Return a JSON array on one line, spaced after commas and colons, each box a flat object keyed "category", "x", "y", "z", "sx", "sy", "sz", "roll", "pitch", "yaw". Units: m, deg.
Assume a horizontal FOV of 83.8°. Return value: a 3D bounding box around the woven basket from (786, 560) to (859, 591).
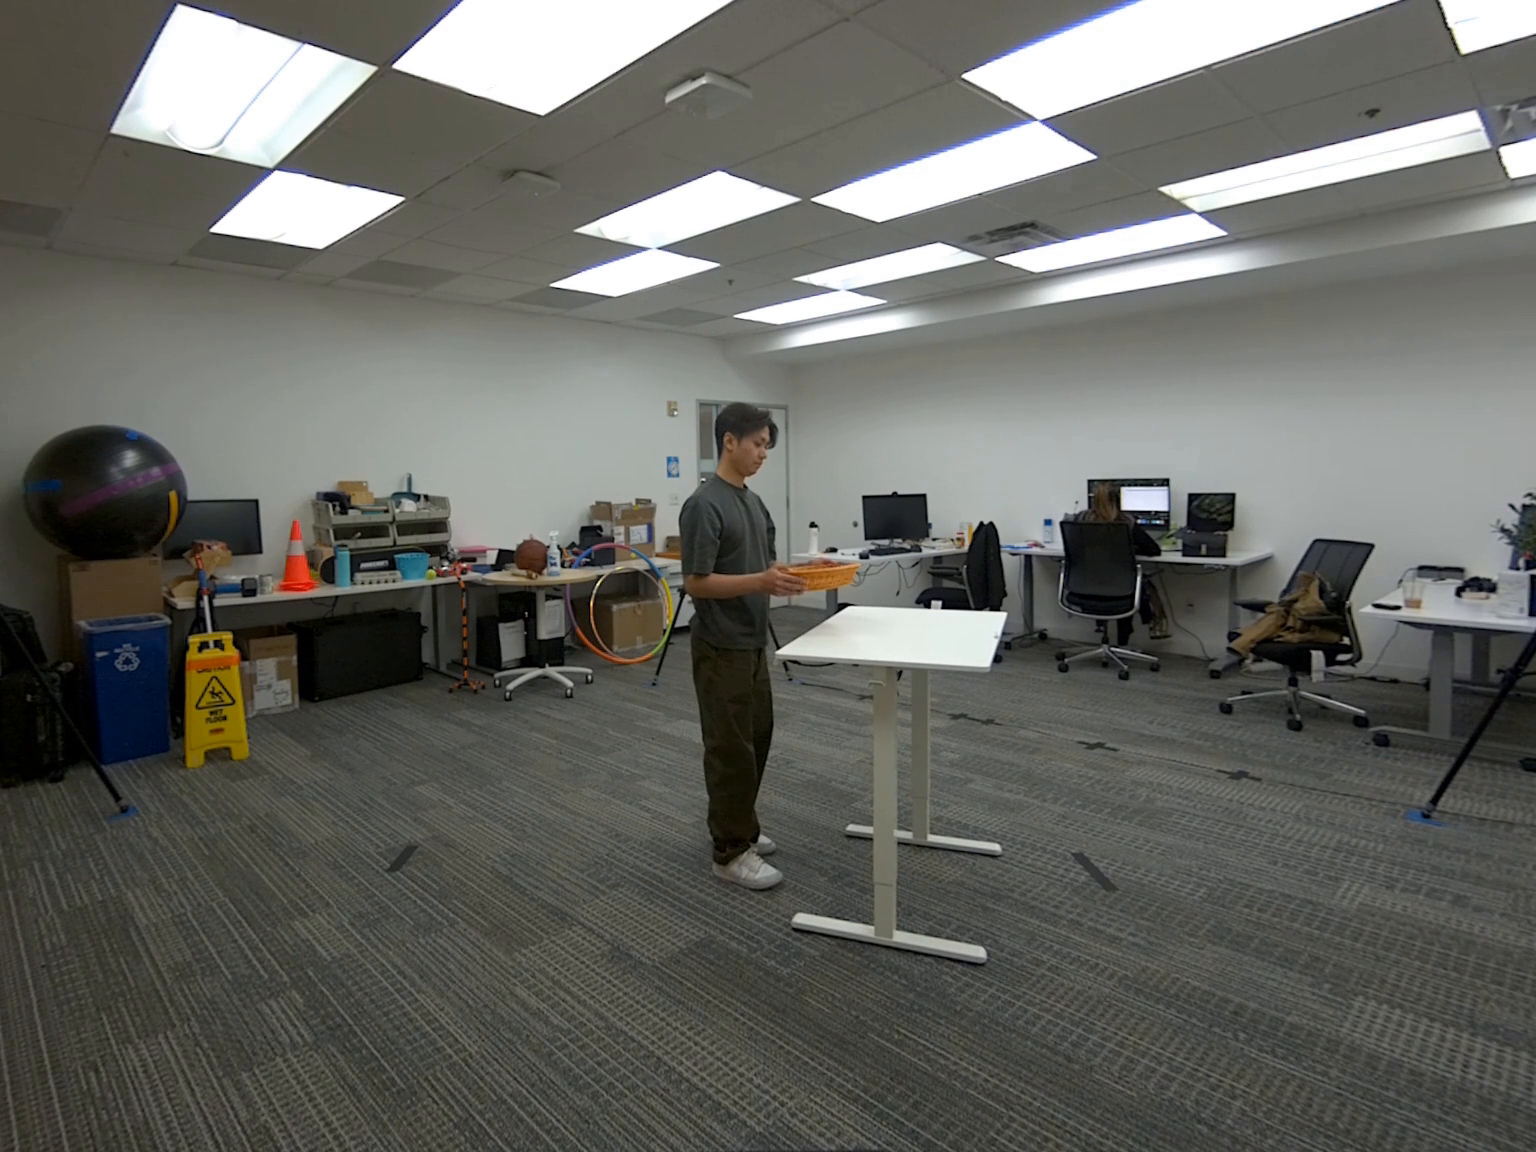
[{"category": "woven basket", "x": 0.161, "y": 0.007, "z": 2.947, "sx": 0.258, "sy": 0.073, "sz": 0.344, "roll": -1, "pitch": 5, "yaw": 23}]
